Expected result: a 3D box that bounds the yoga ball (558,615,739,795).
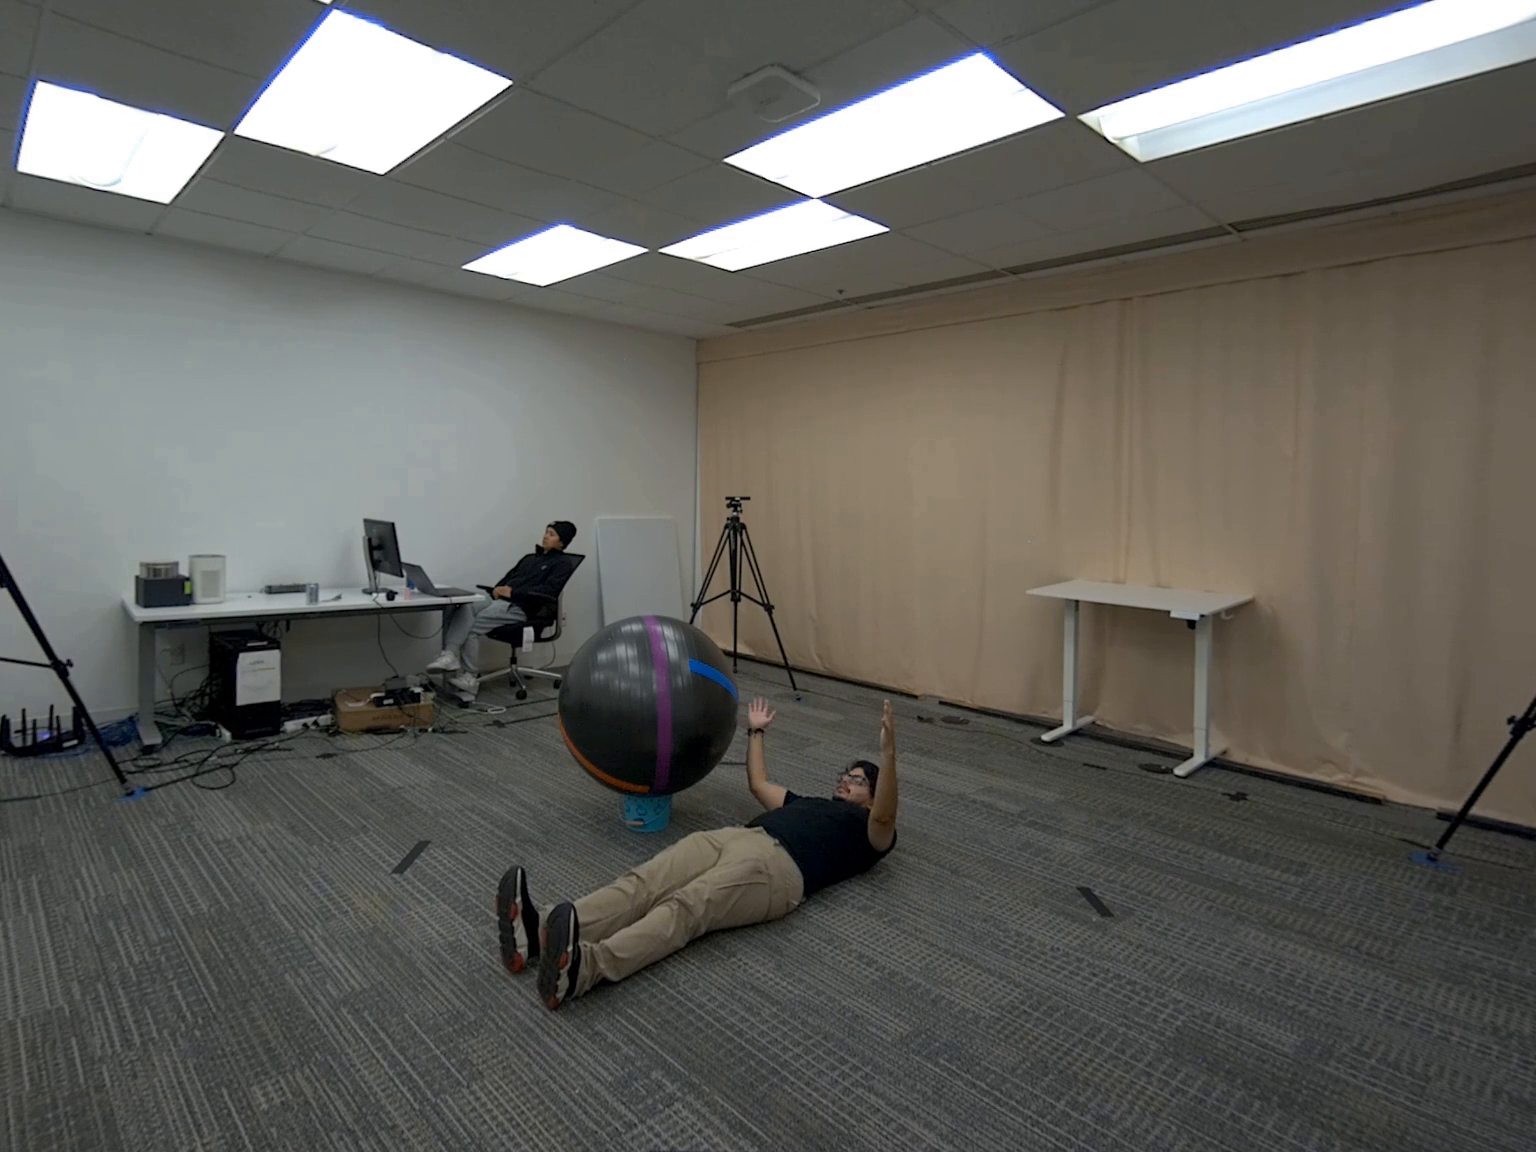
[{"bbox_3d":[-0.512,0.552,3.569,0.757,0.755,0.761,1,5,-1],"label":"yoga ball"}]
